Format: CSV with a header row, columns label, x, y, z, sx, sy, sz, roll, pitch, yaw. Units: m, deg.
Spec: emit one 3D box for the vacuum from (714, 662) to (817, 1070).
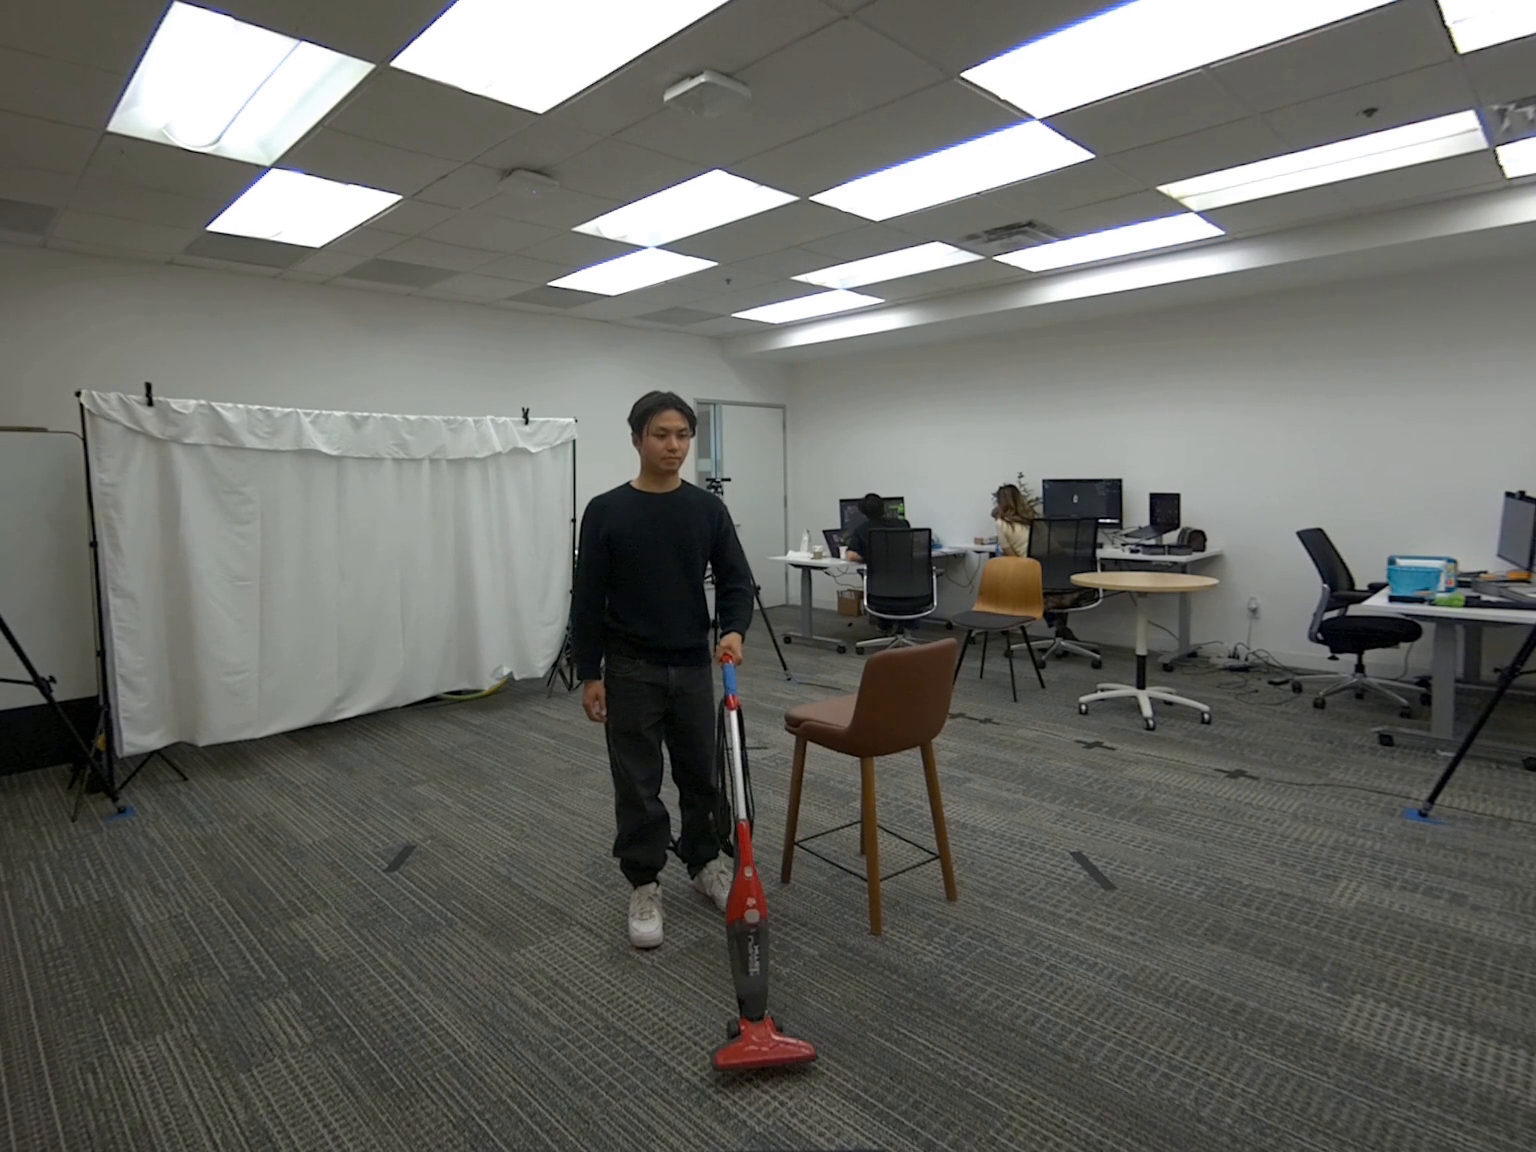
label,x,y,z,sx,sy,sz,roll,pitch,yaw
vacuum,-0.069,0.678,2.297,0.249,1.076,0.142,0,-30,-13
